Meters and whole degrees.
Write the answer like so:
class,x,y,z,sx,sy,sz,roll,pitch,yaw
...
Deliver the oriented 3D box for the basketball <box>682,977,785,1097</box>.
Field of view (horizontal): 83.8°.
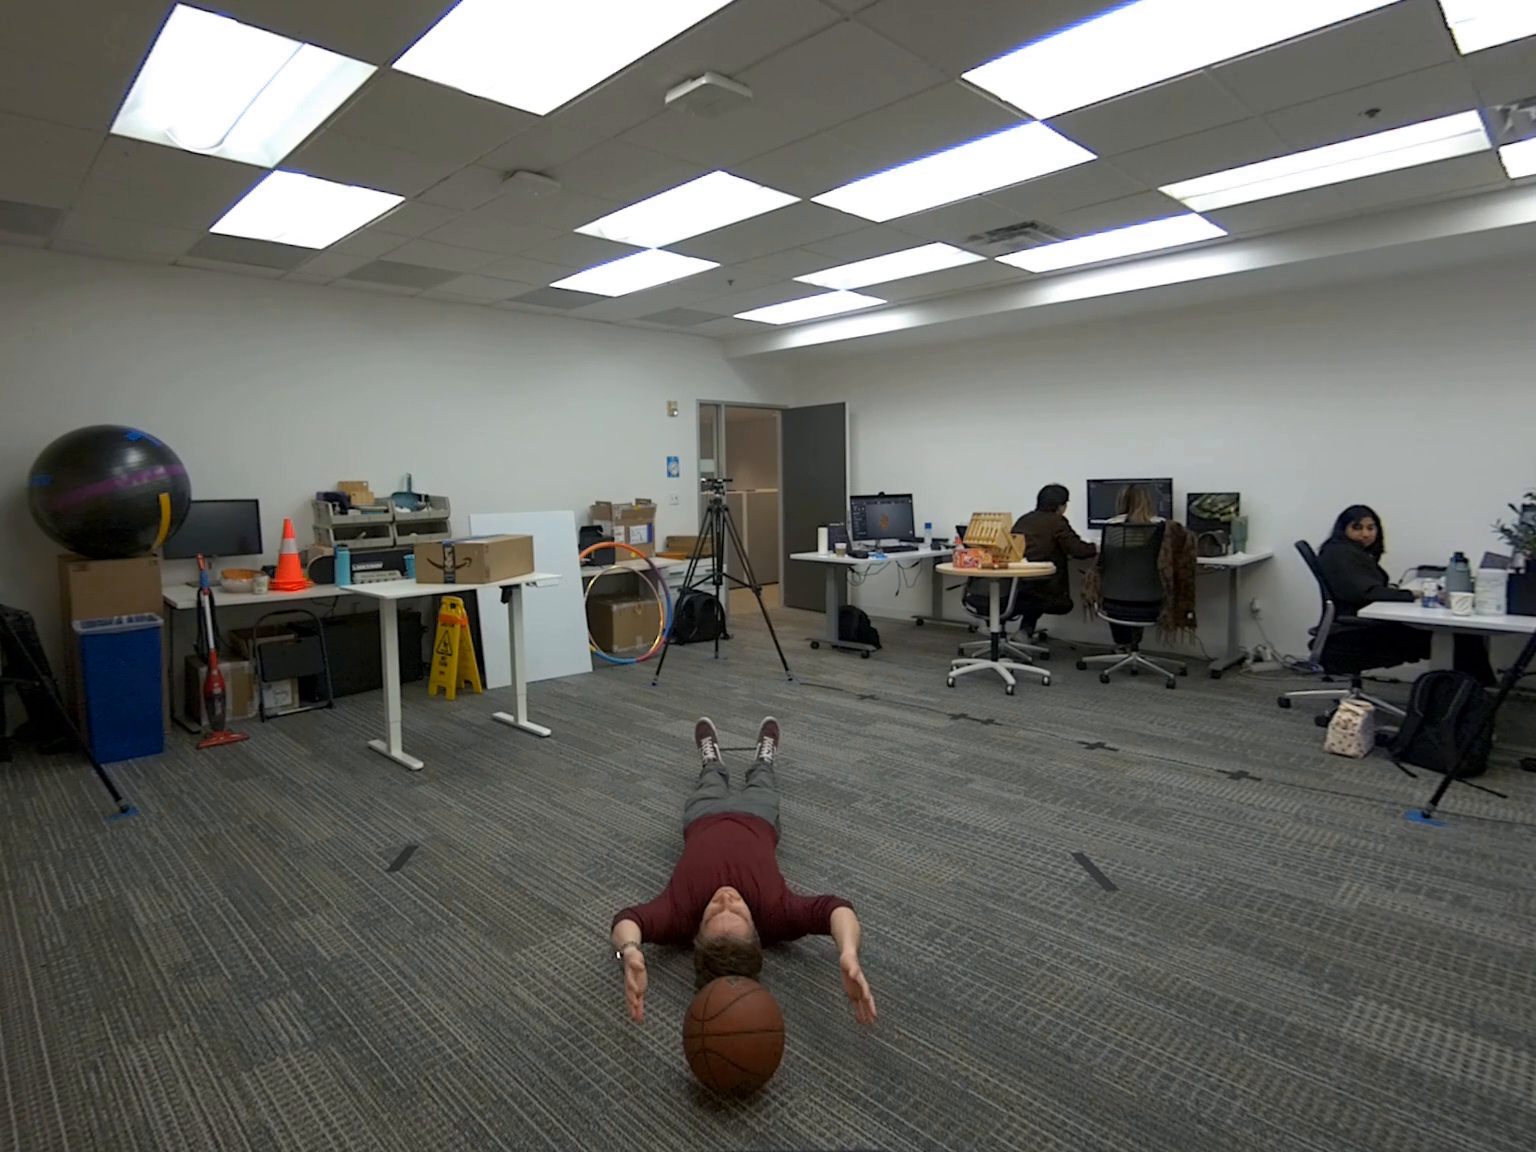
class,x,y,z,sx,sy,sz,roll,pitch,yaw
basketball,-0.067,1.064,1.967,0.236,0.235,0.237,-1,5,-2
